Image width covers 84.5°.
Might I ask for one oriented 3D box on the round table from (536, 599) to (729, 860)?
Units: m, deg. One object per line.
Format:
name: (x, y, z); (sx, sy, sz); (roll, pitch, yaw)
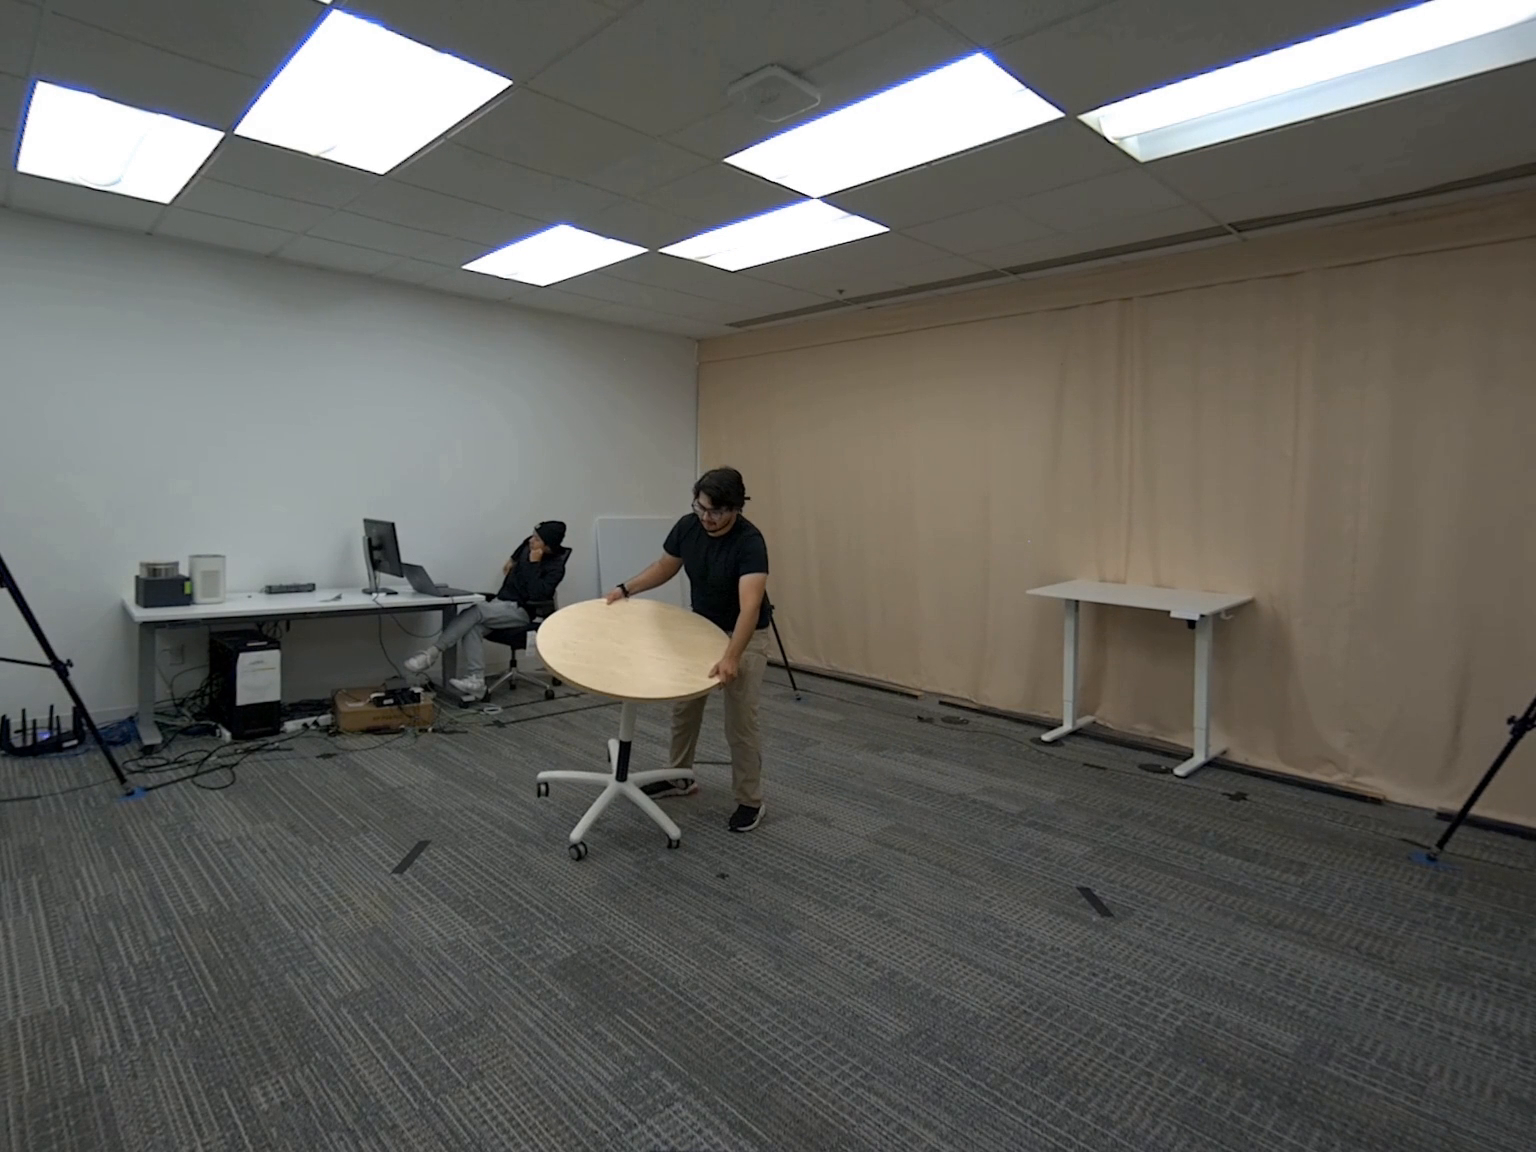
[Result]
round table: (-0.589, 0.613, 3.381); (0.783, 0.777, 0.797); (7, 21, -4)
